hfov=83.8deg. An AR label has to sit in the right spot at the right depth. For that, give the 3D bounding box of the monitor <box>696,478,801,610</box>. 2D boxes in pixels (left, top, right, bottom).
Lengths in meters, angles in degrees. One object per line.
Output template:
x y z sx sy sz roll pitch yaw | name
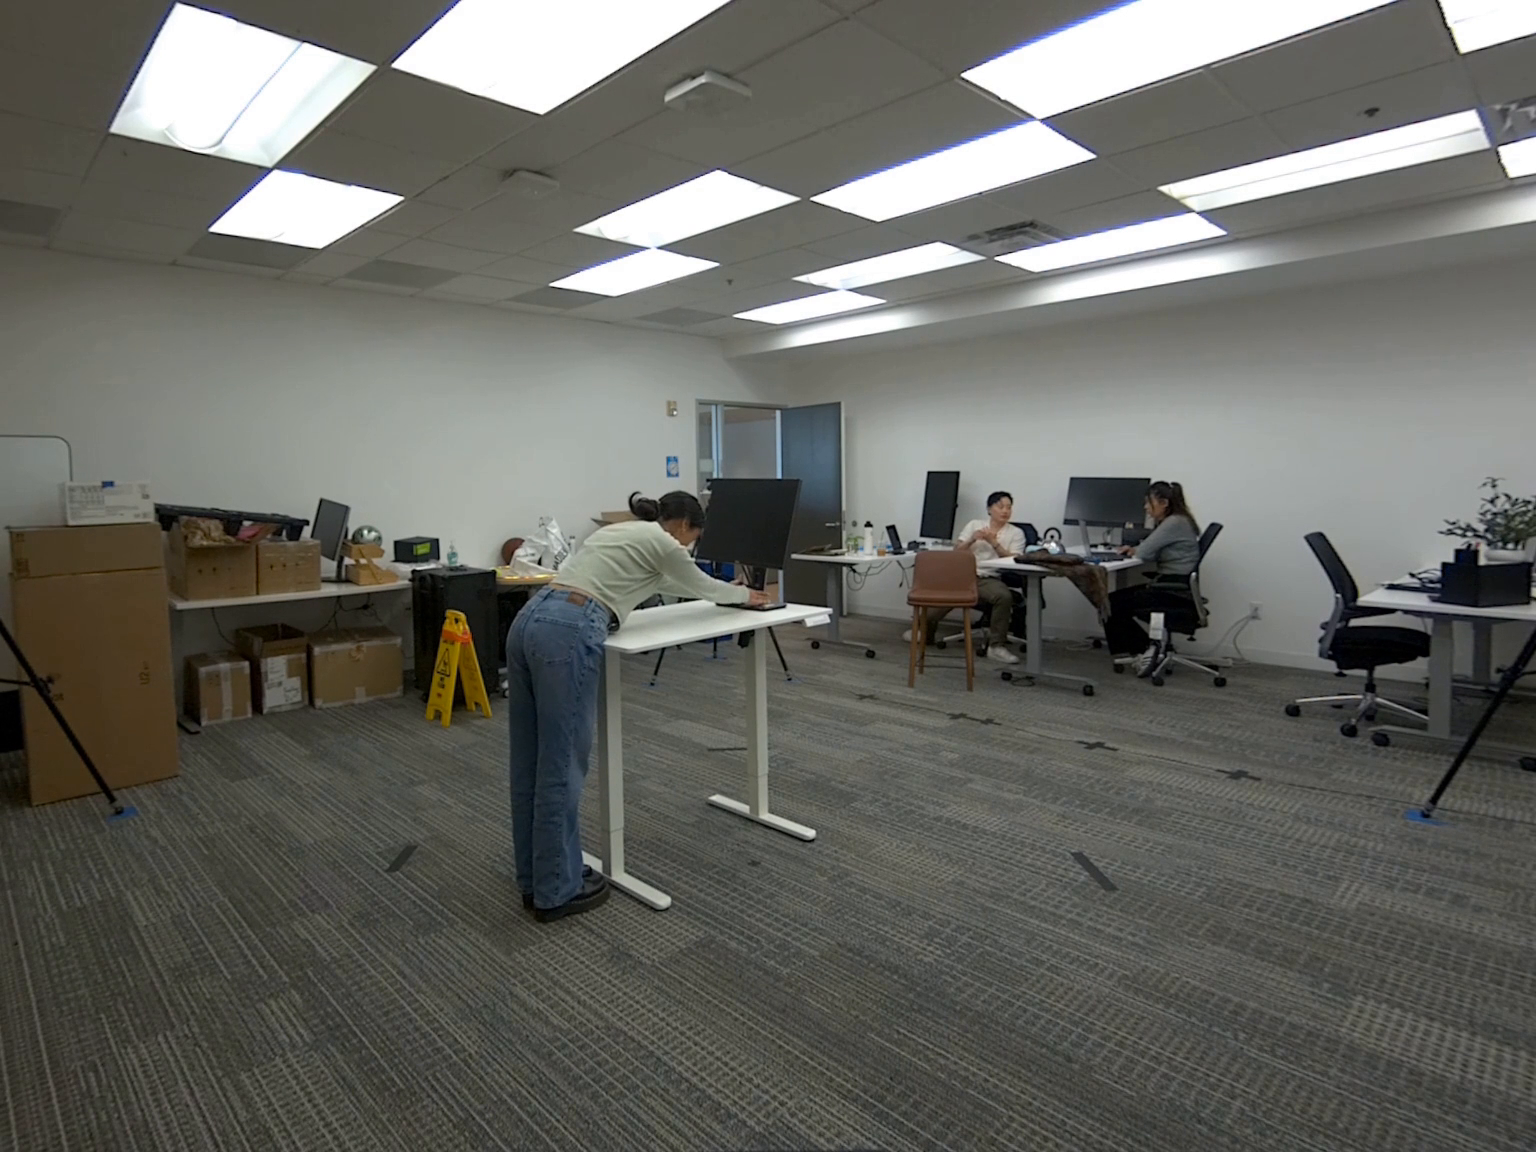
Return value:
-0.063 -0.134 3.451 0.182 0.521 0.556 0 4 -41 | monitor
